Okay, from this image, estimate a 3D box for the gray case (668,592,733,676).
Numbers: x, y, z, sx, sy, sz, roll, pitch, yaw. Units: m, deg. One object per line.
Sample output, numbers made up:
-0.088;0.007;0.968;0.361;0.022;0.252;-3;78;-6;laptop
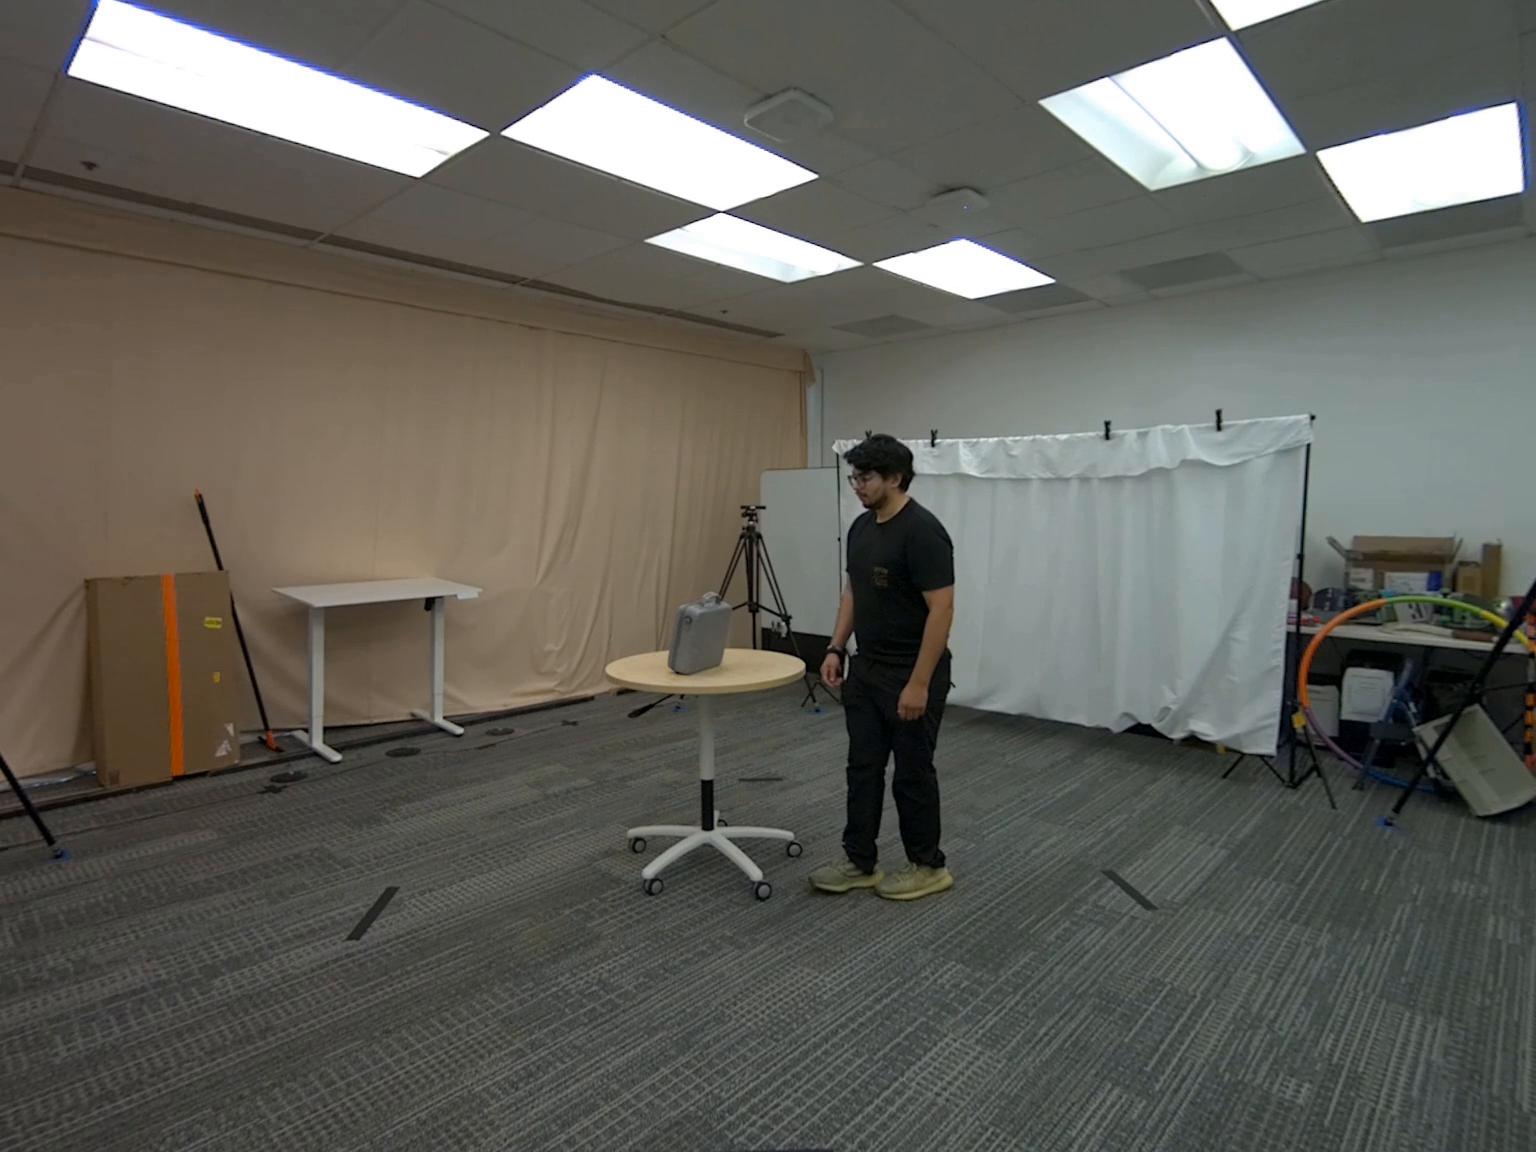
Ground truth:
-0.247;0.224;3.144;0.107;0.259;0.250;16;12;28;gray case
